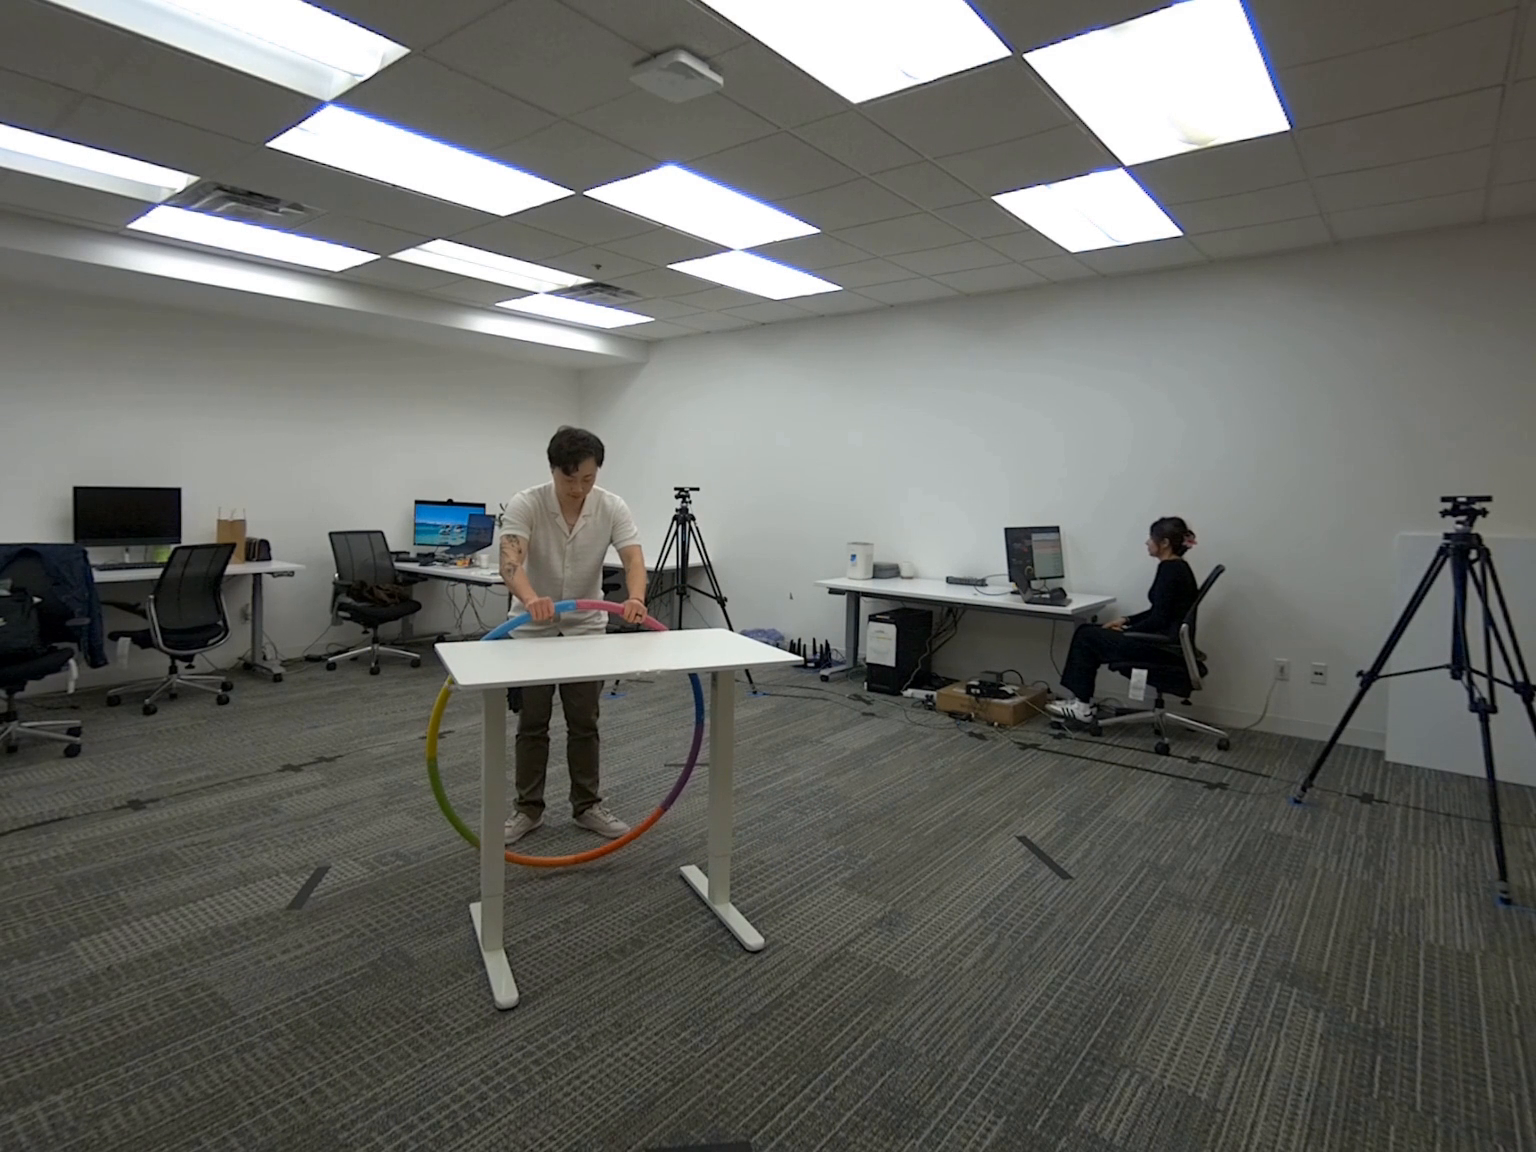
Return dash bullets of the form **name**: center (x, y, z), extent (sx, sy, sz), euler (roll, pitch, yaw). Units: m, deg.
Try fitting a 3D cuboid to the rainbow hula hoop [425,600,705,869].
- **rainbow hula hoop**: center (-0.697, 0.567, 2.986), extent (0.957, 0.968, 0.037), euler (-1, 13, -22)
